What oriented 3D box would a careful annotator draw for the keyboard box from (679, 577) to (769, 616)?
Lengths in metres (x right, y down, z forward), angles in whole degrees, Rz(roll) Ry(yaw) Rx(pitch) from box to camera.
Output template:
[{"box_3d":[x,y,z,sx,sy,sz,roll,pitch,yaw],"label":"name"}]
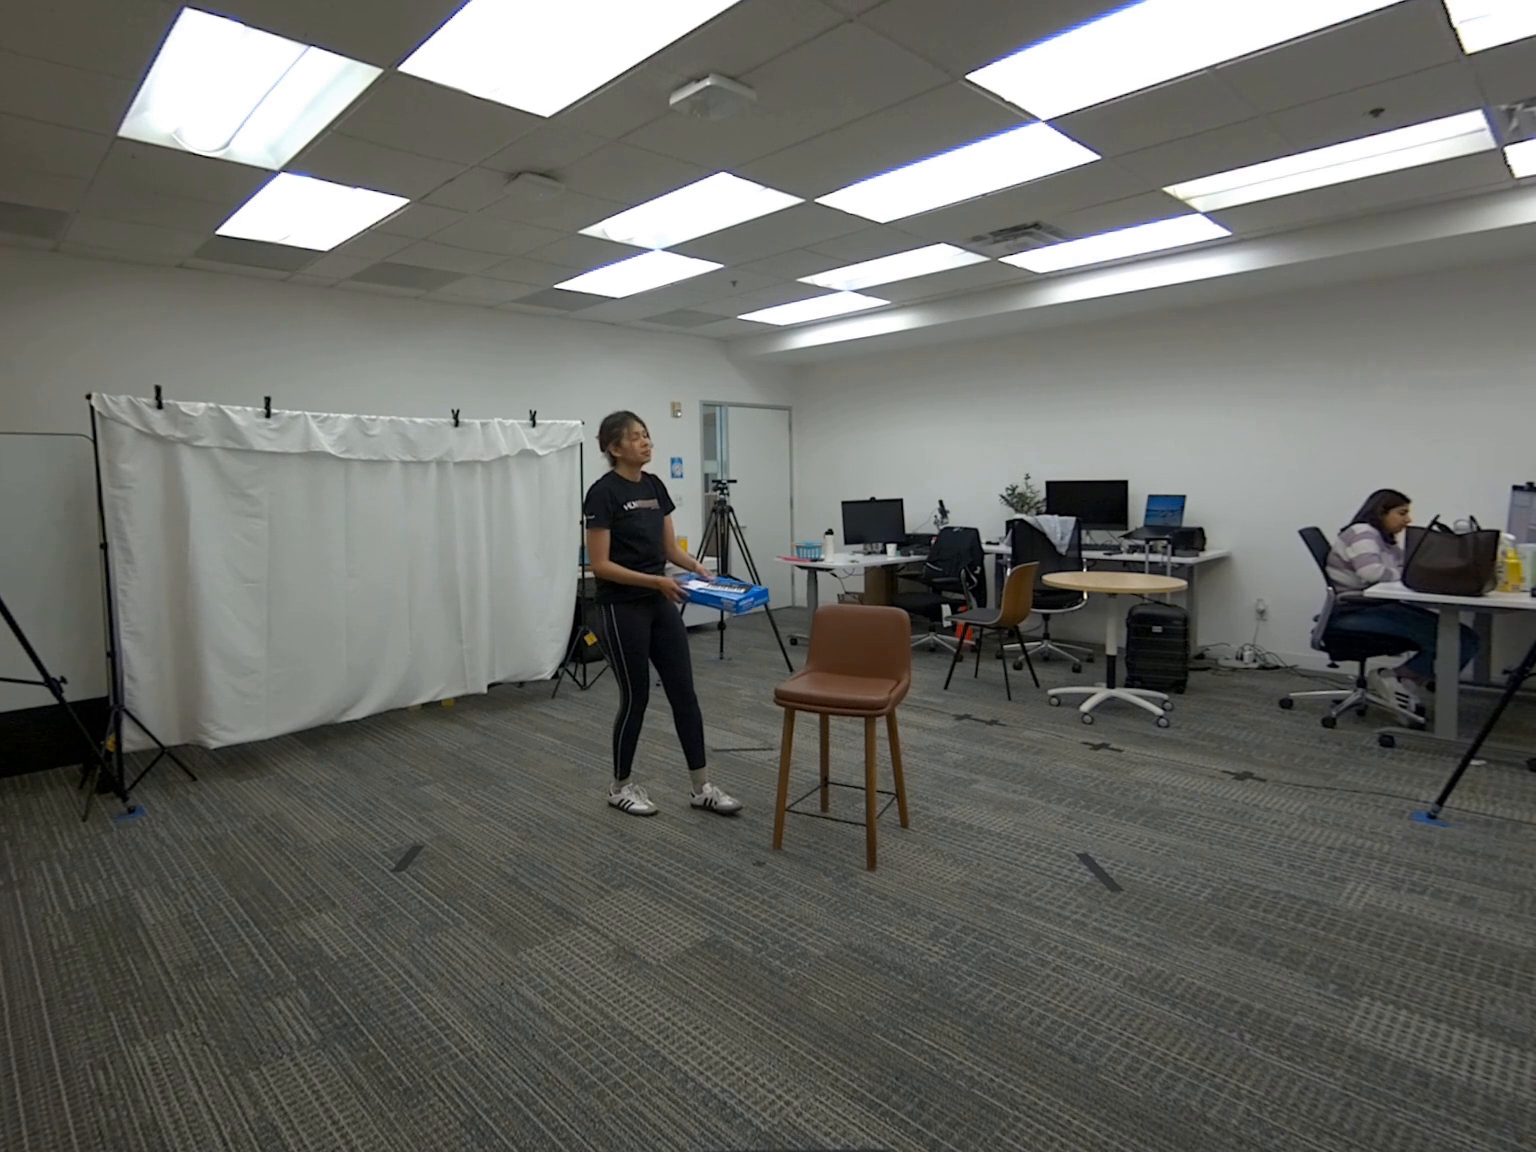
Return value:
[{"box_3d":[-0.204,0.066,3.334,0.172,0.058,0.451,-19,20,-41],"label":"keyboard box"}]
